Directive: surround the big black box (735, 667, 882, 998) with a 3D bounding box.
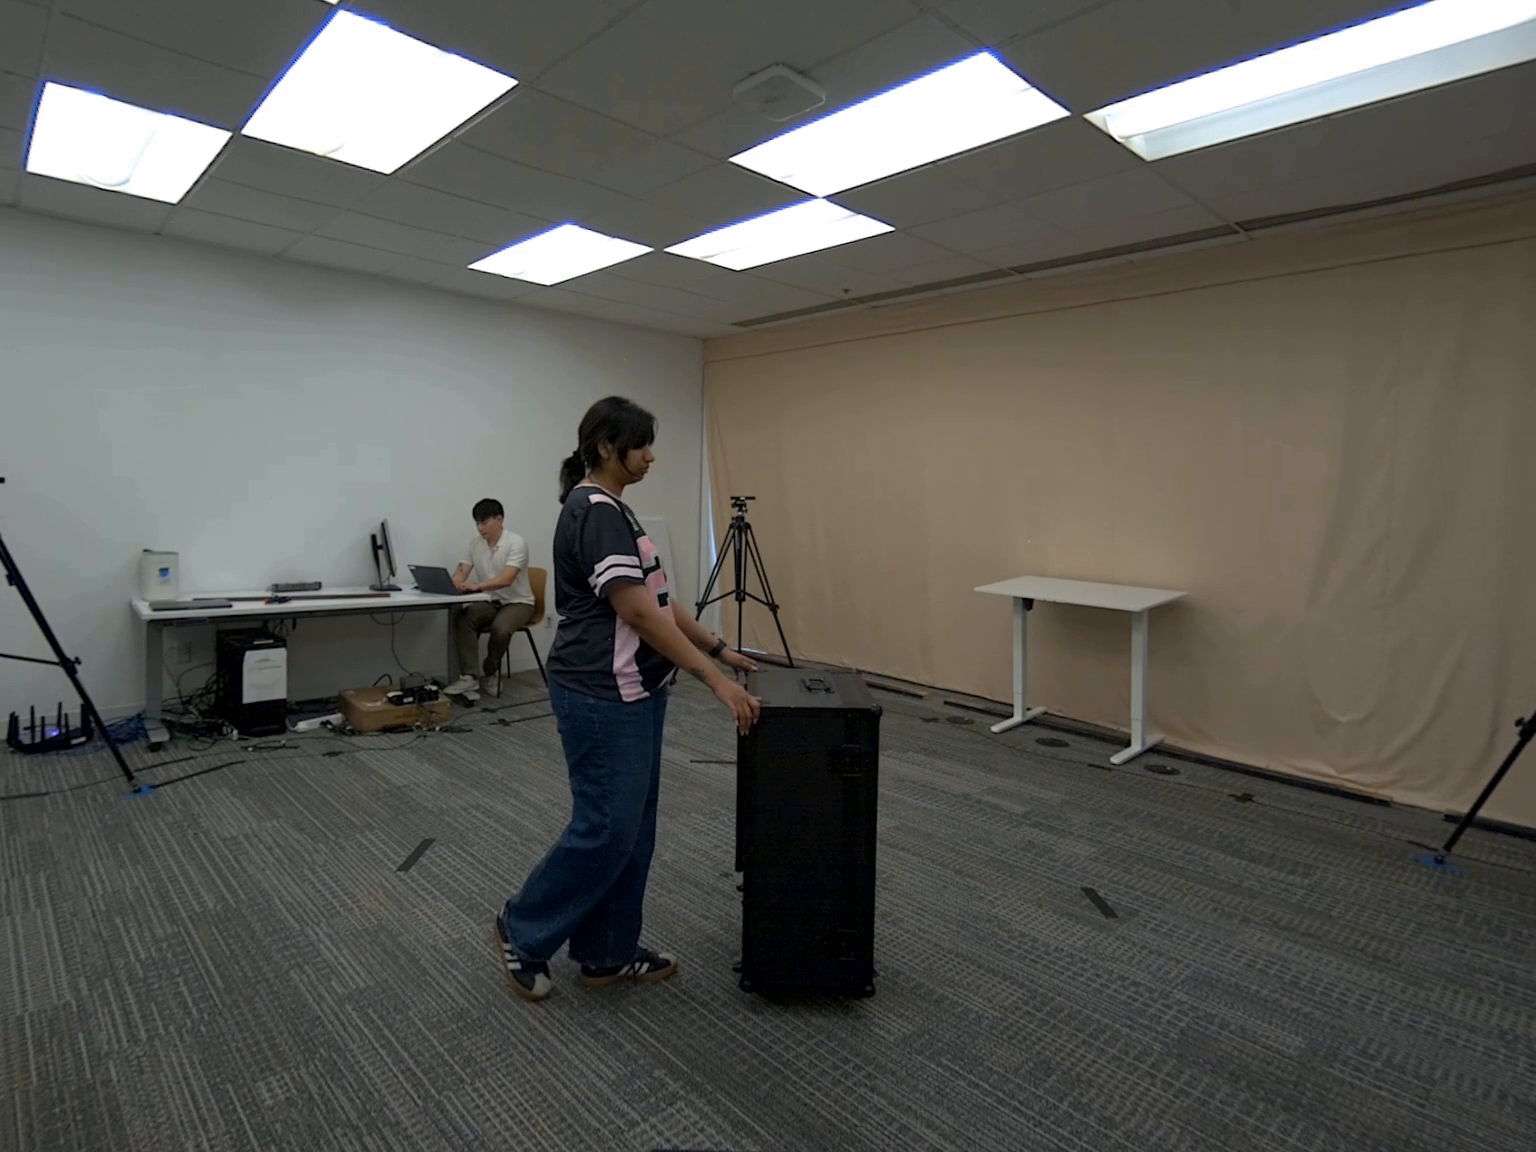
[{"bbox_3d":[0.105,0.749,2.459,0.385,0.866,0.525,0,4,-1],"label":"big black box"}]
